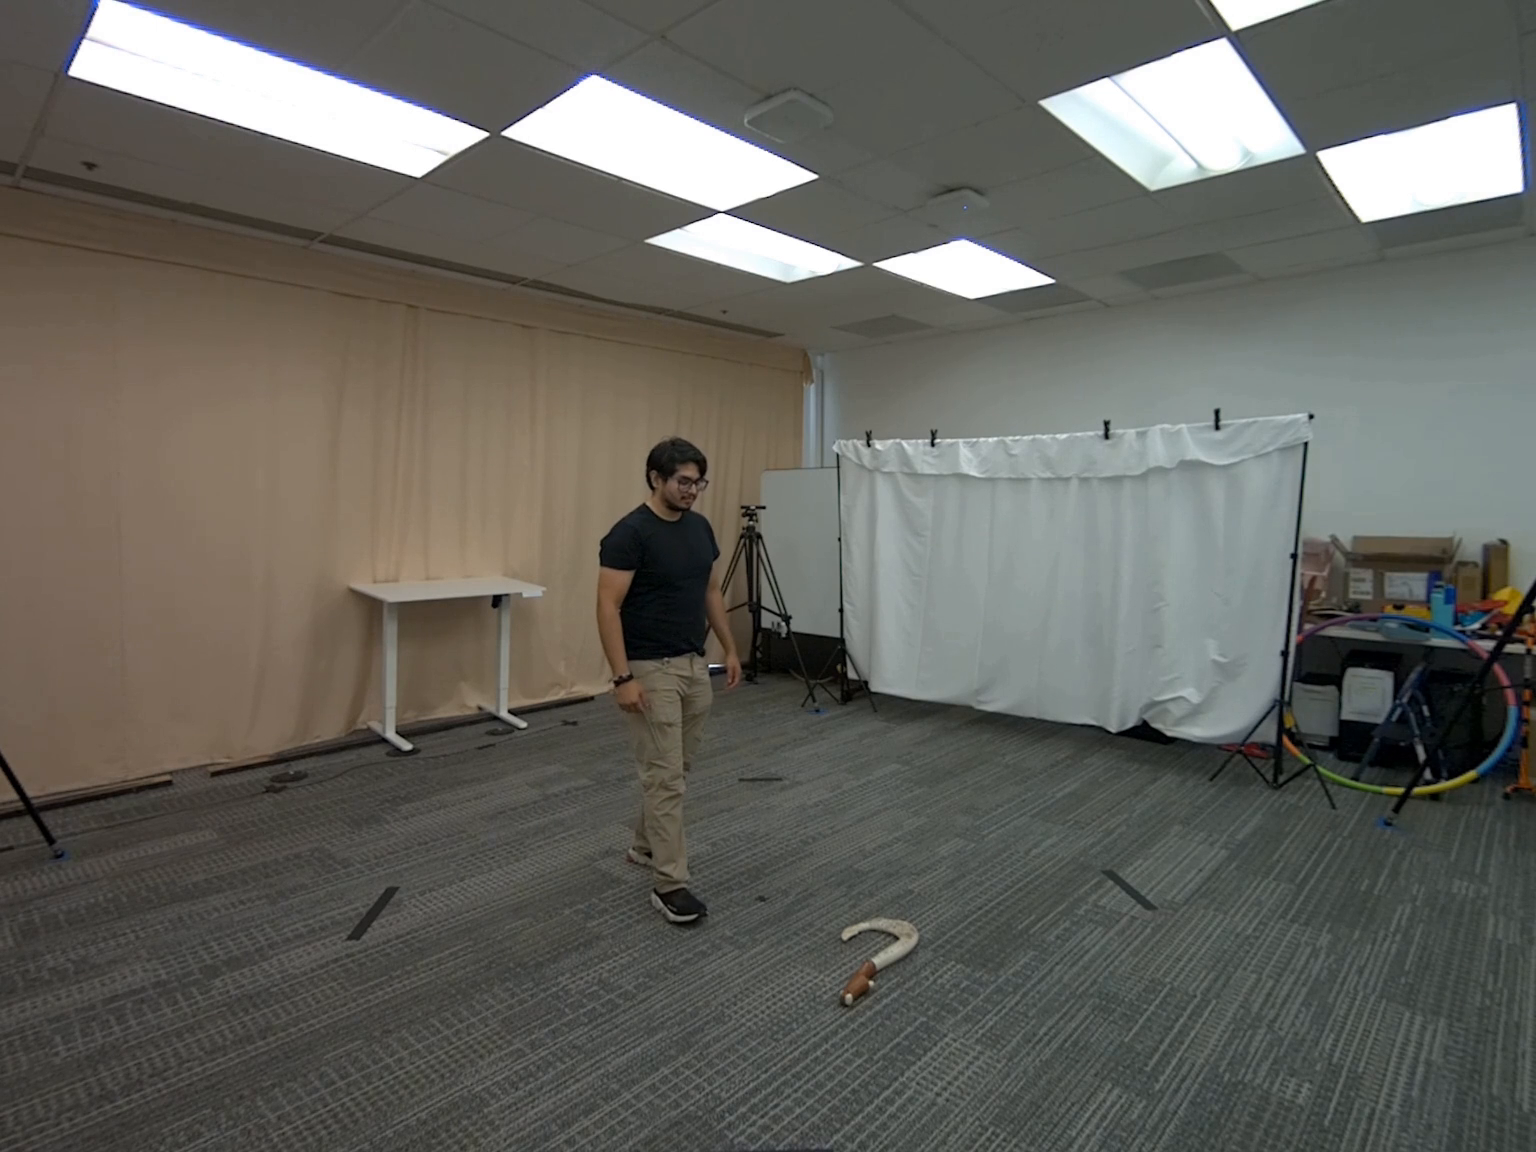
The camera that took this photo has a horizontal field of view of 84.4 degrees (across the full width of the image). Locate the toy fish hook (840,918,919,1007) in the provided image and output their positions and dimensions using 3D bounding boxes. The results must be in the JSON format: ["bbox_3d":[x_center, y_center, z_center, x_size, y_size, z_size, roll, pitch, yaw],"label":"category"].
[{"bbox_3d":[0.296,1.163,2.561,0.231,0.048,0.493,-5,1,31],"label":"toy fish hook"}]
